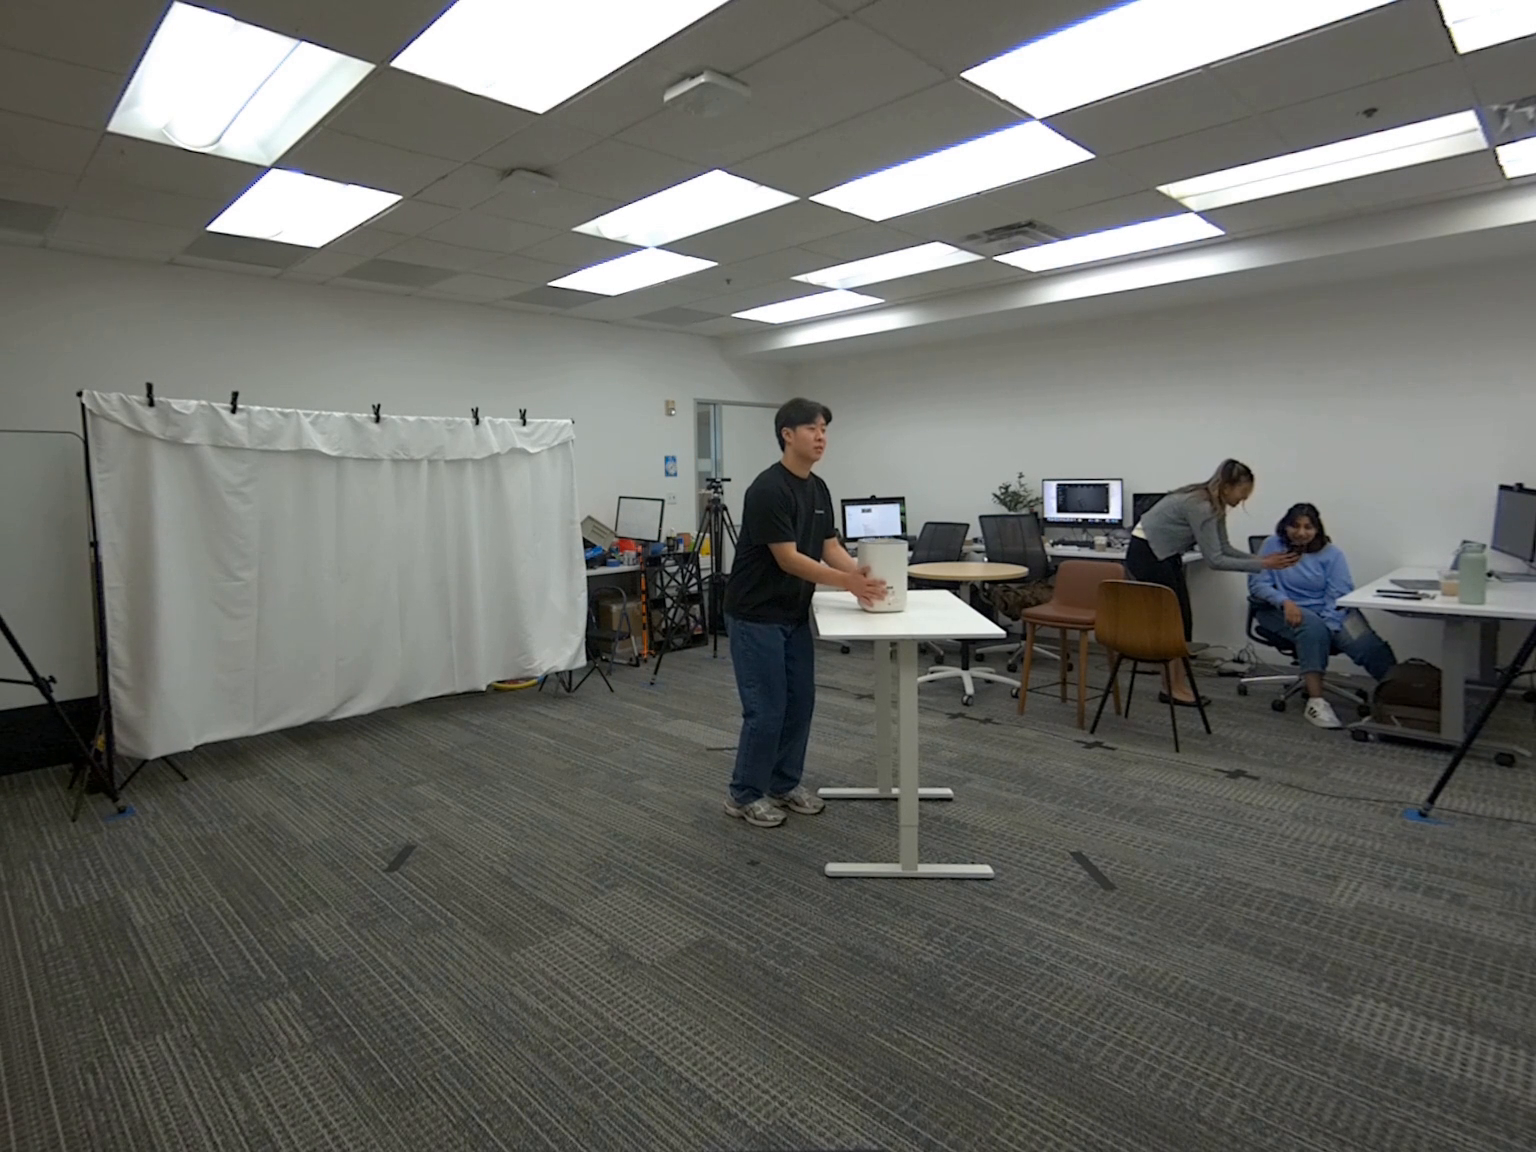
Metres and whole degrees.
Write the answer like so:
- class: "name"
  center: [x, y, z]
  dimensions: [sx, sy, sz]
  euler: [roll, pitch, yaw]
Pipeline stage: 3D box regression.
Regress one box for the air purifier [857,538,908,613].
- class: "air purifier"
  center: [0.442, -0.008, 3.264]
  dimensions: [0.170, 0.264, 0.173]
  euler: [-3, 5, -8]
